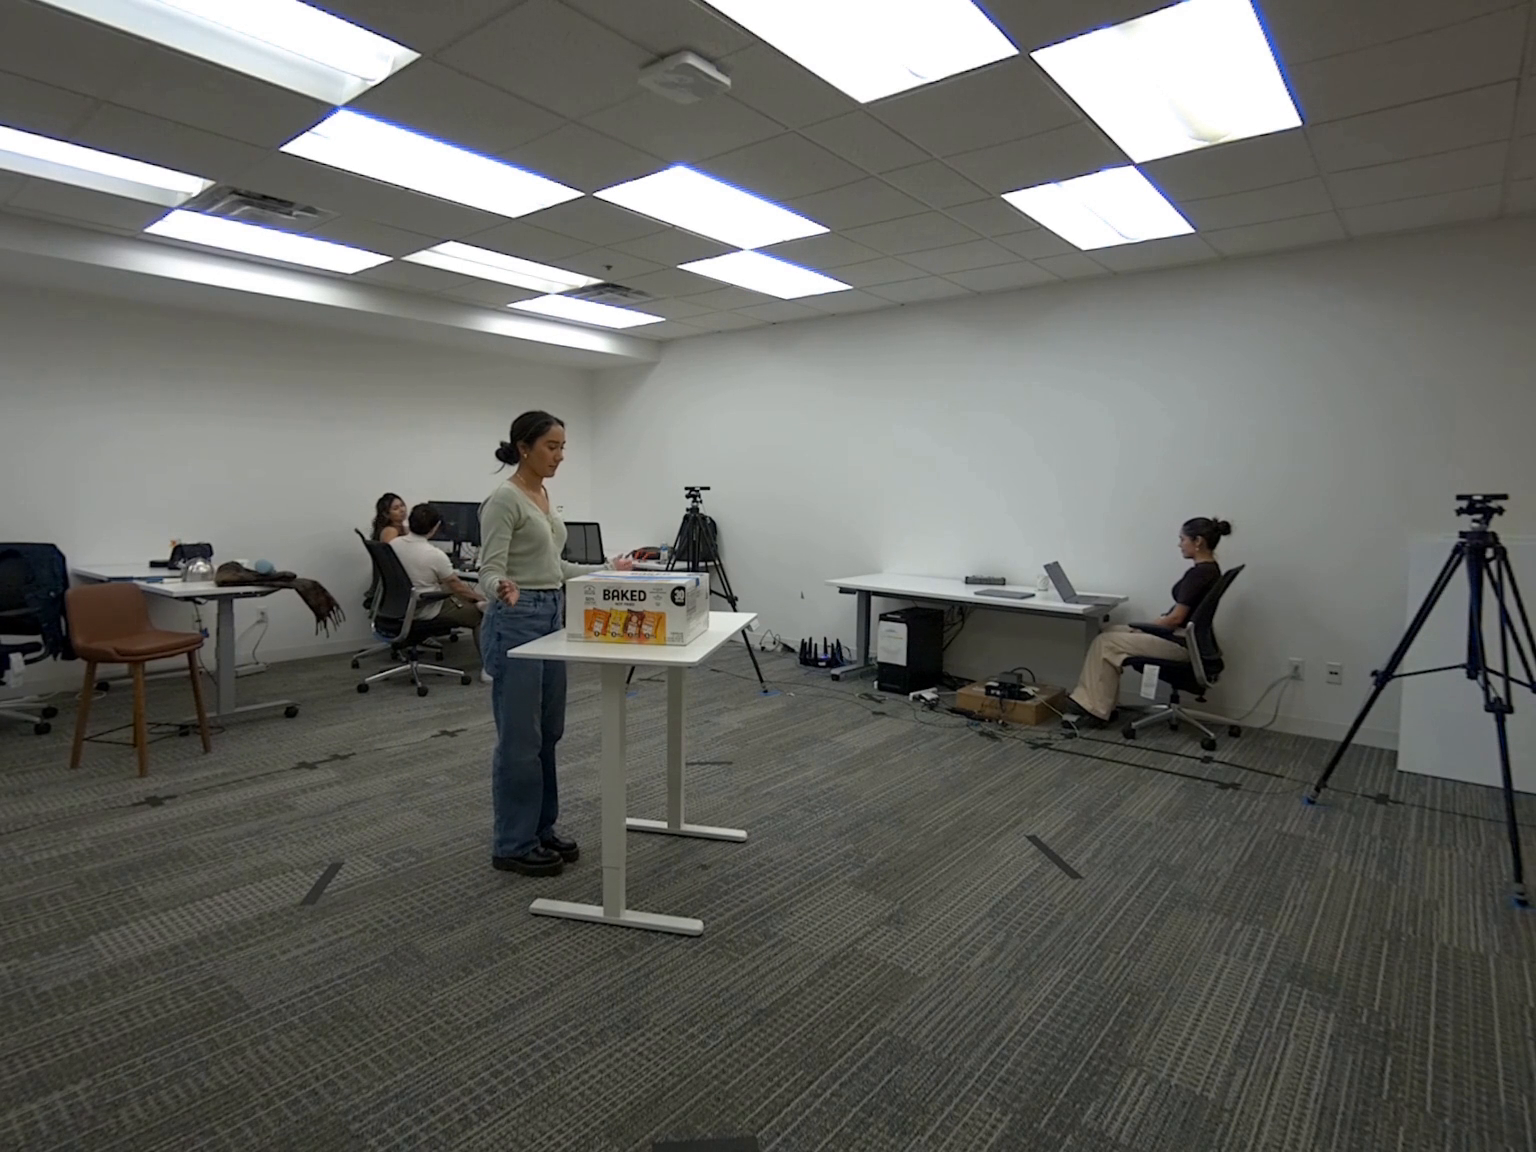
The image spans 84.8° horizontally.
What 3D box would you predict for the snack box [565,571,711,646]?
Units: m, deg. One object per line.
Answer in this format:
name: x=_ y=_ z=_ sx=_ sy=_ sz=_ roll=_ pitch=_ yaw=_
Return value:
snack box: x=-0.443 y=0.101 z=2.905 sx=0.410 sy=0.205 sz=0.337 roll=1 pitch=6 yaw=11
